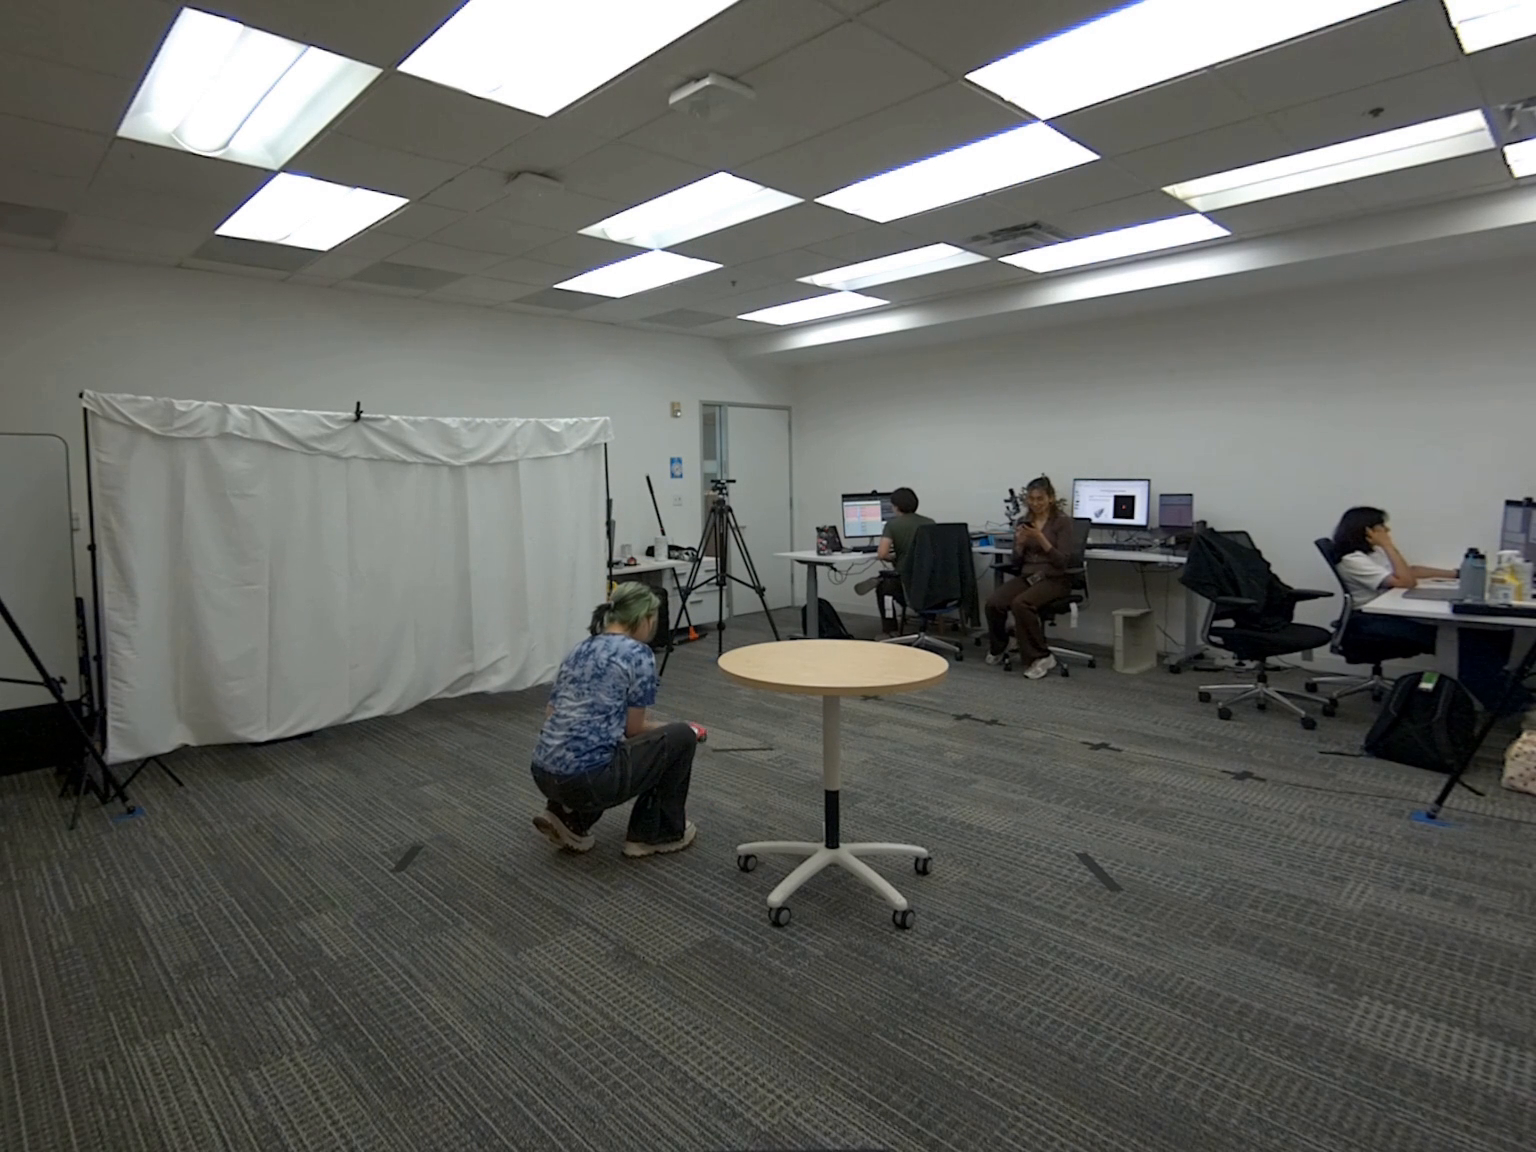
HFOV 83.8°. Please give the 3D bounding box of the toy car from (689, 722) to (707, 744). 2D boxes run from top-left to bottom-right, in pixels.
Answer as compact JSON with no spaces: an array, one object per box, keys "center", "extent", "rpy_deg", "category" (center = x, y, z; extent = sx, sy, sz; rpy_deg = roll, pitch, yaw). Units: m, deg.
[{"center":[-0.370,0.679,3.467],"extent":[0.135,0.082,0.249],"rpy_deg":[15,21,42],"category":"toy car"}]
